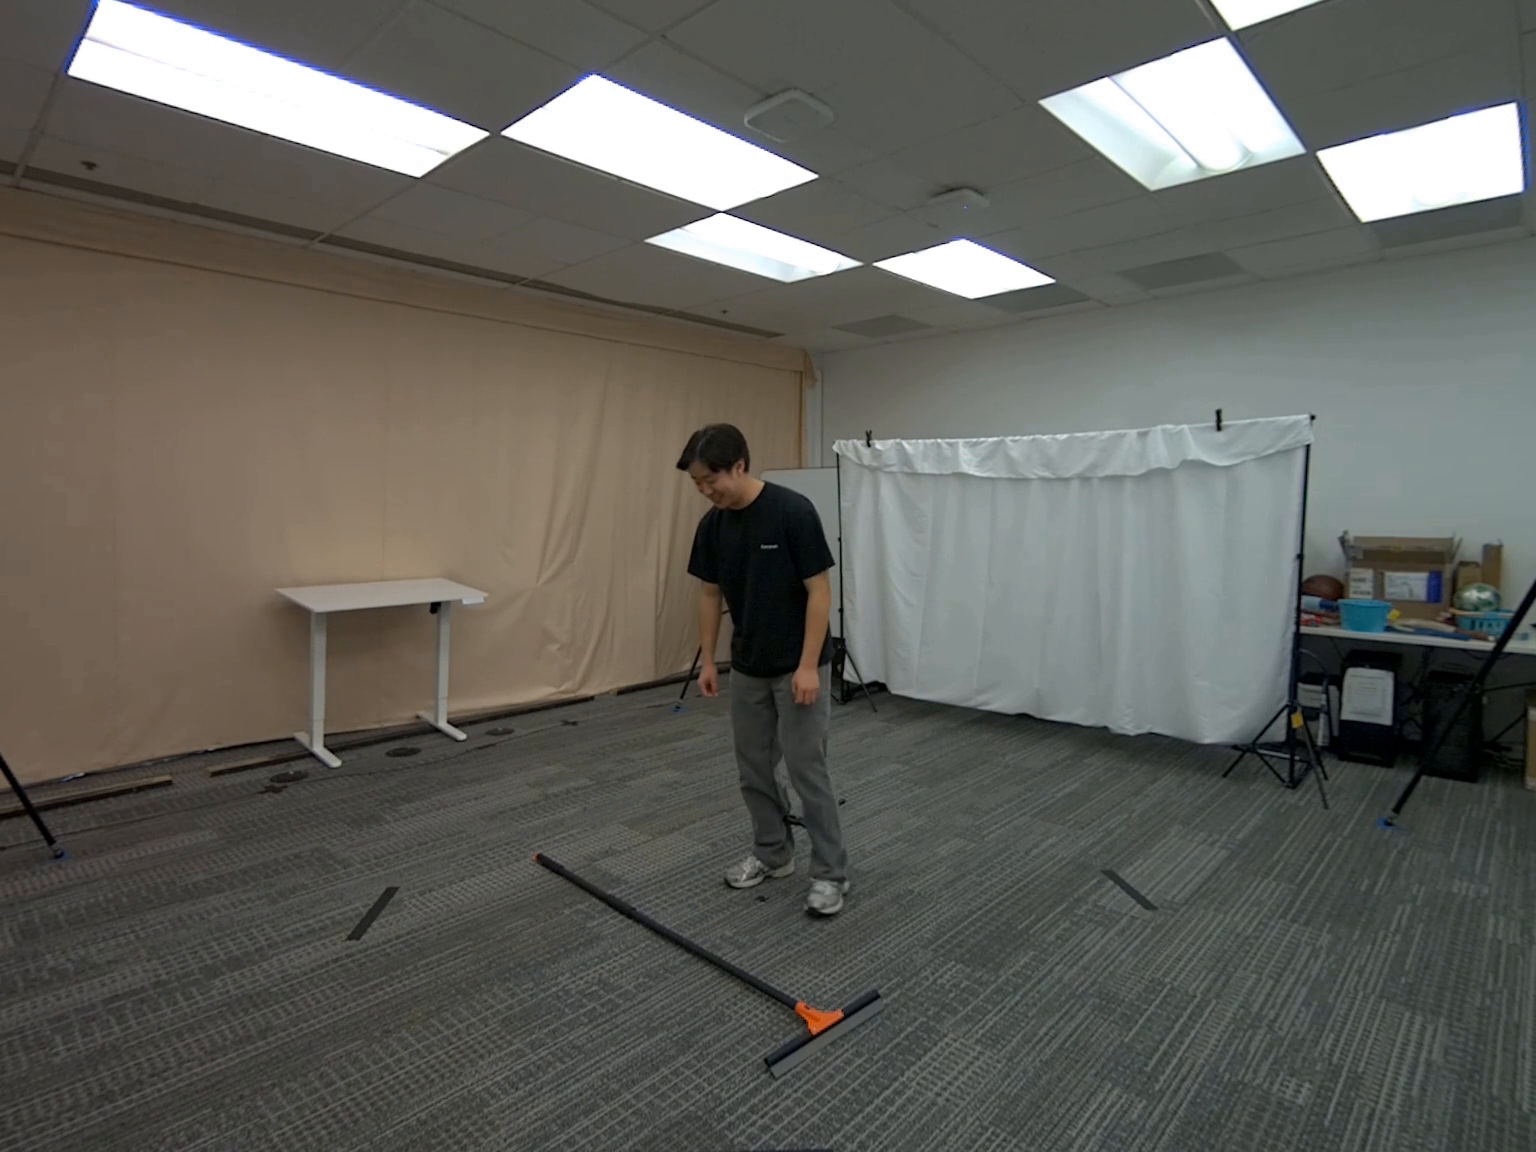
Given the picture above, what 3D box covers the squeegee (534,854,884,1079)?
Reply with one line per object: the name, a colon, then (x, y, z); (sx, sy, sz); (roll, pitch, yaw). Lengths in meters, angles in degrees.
squeegee: (-0.360, 1.127, 2.763); (0.424, 0.053, 1.588); (-4, 5, -43)
